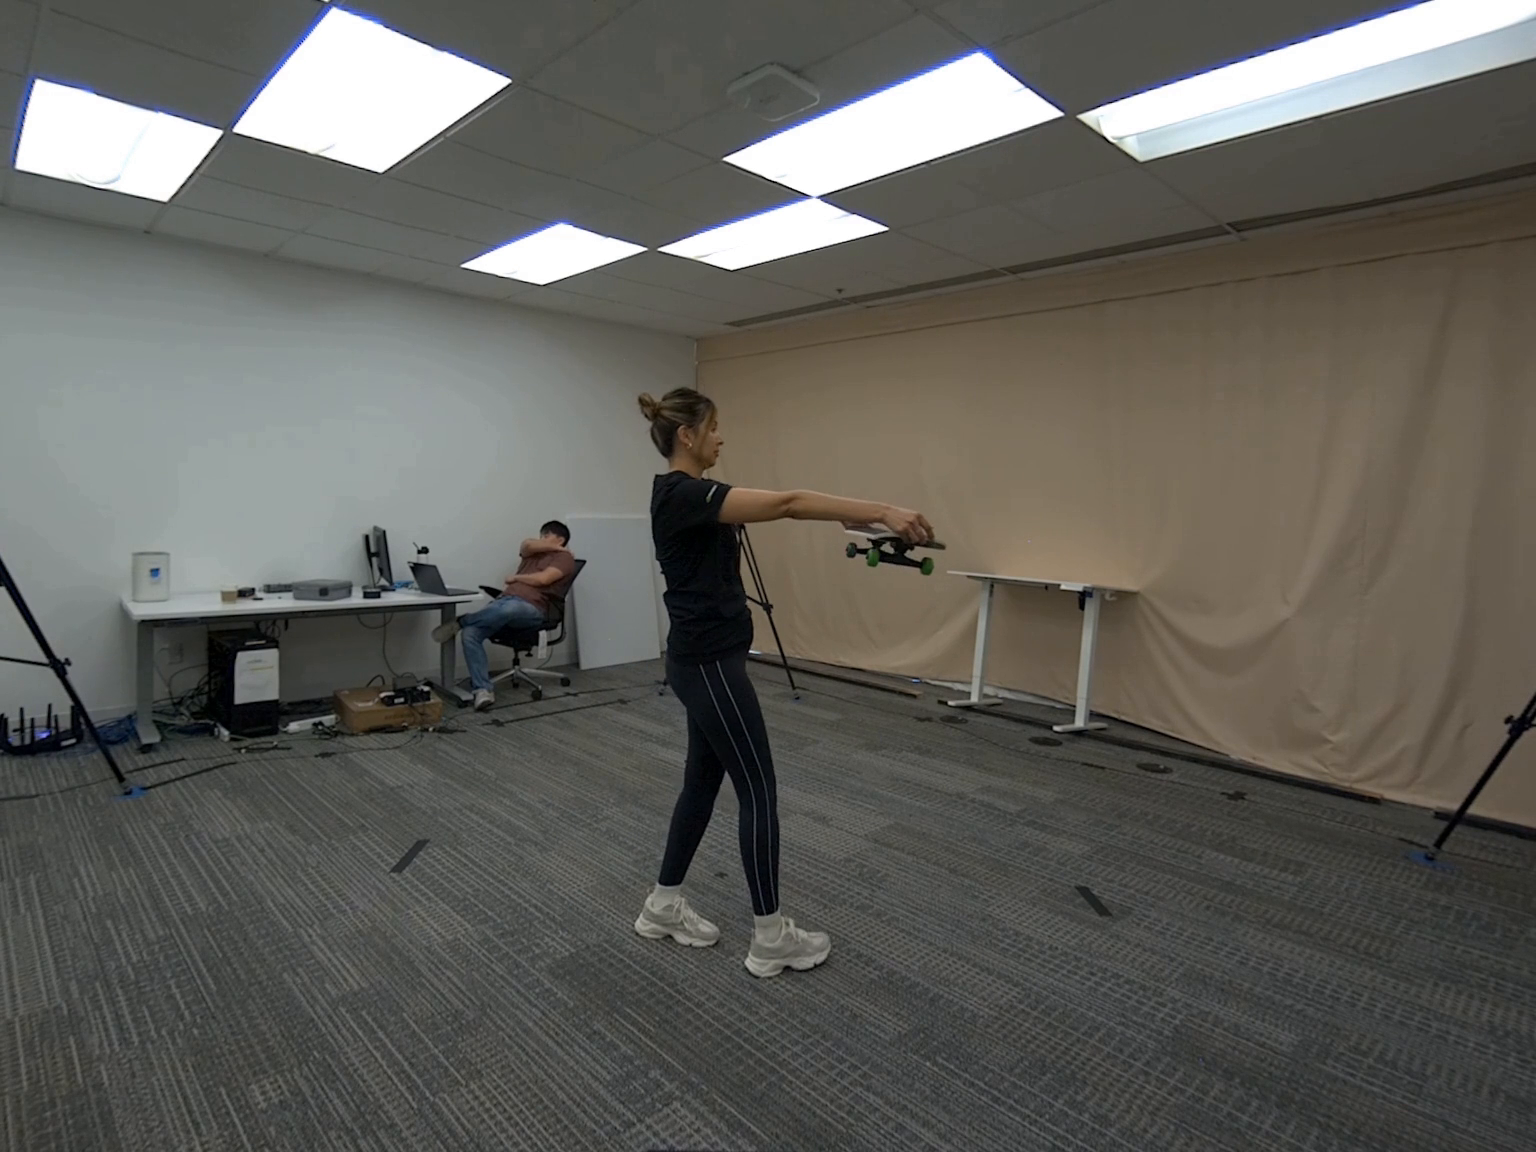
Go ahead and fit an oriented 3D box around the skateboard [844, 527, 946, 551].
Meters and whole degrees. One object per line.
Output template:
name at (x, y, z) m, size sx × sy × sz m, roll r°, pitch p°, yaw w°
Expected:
skateboard at (0.352, -0.087, 2.549) m, size 0.193 × 0.110 × 0.789 m, roll 10°, pitch 3°, yaw -5°
